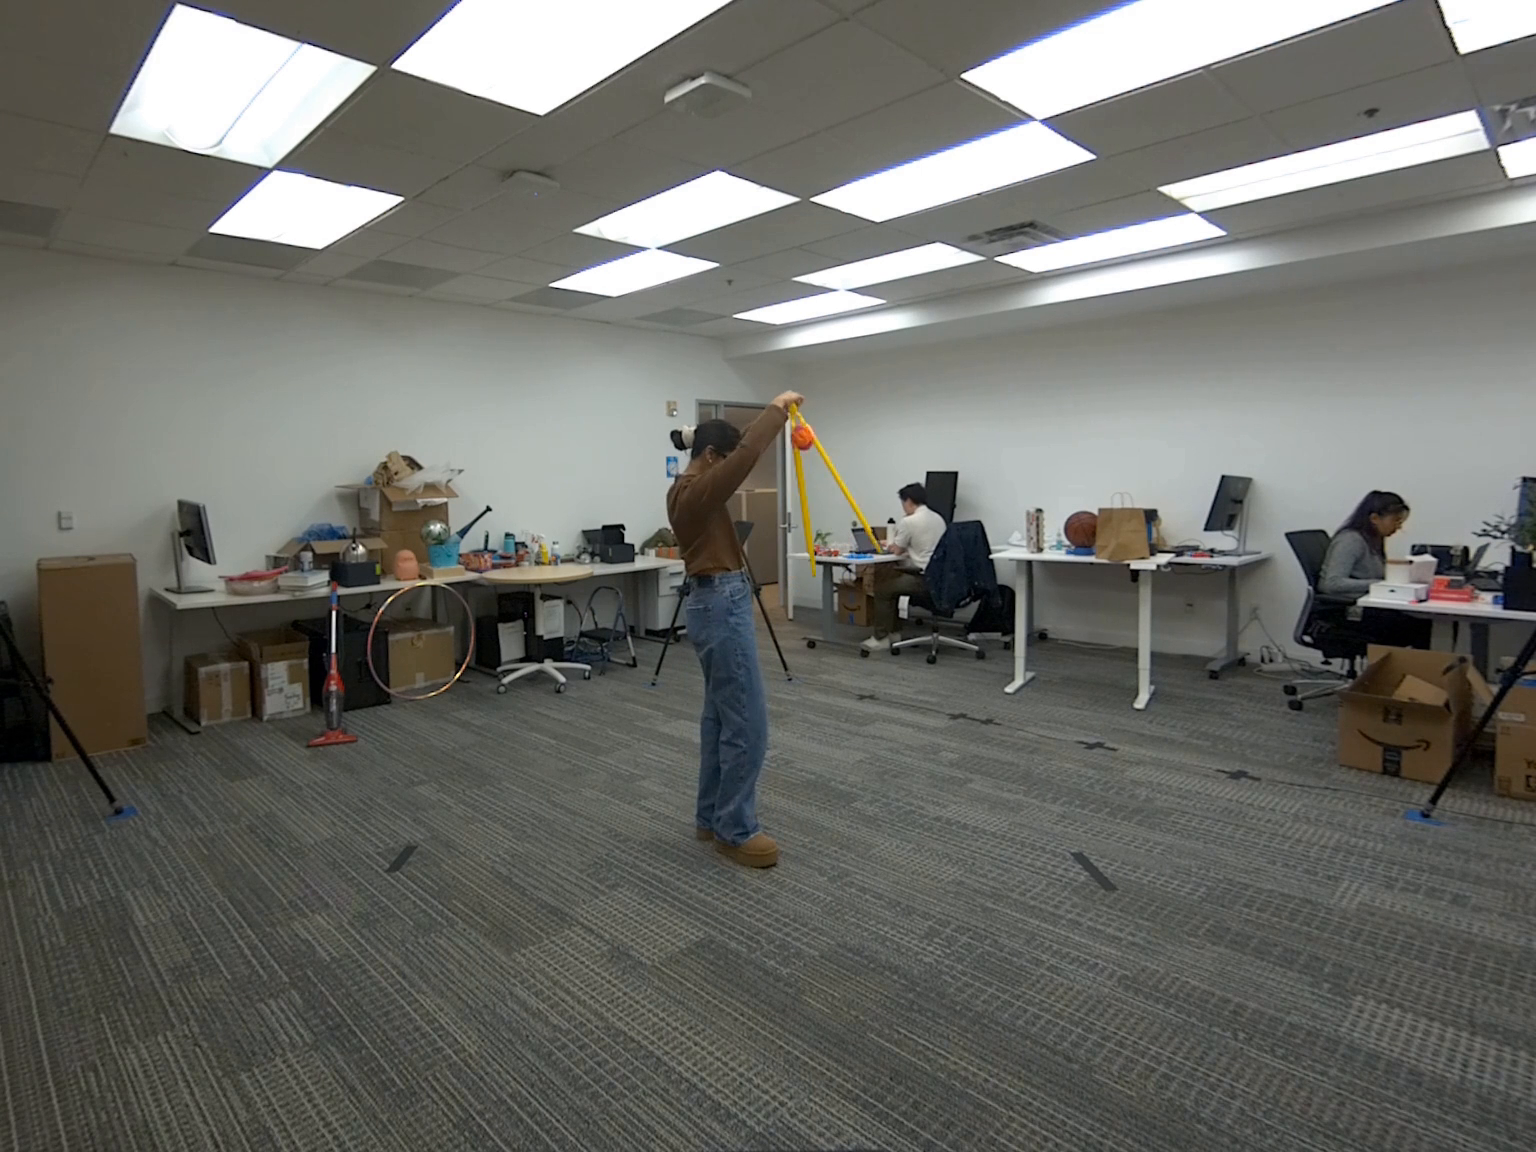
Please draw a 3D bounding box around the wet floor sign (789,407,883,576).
[{"bbox_3d":[0.196,-0.368,3.264,0.291,0.640,0.284,-18,8,5],"label":"wet floor sign"}]
